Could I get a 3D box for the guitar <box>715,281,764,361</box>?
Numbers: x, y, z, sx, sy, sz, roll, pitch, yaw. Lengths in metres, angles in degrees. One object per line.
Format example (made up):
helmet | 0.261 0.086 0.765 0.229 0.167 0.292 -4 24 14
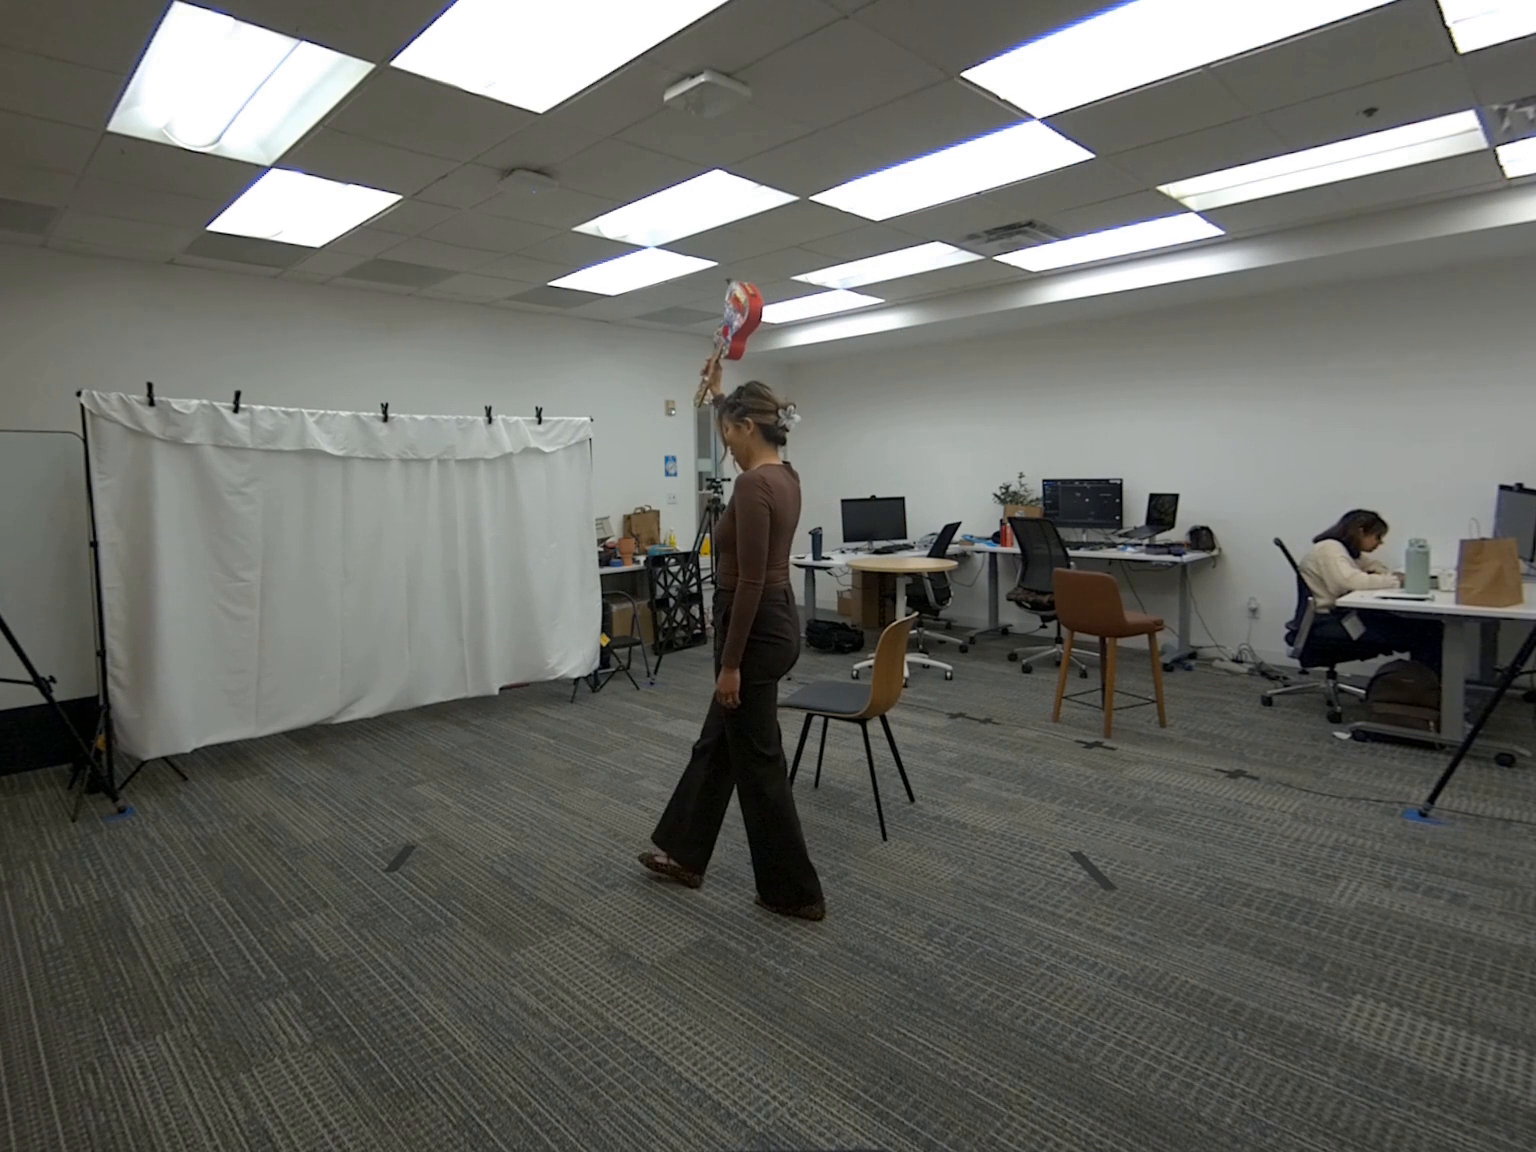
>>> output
guitar | -0.163 -0.839 3.106 0.069 0.199 0.494 2 -37 -29
